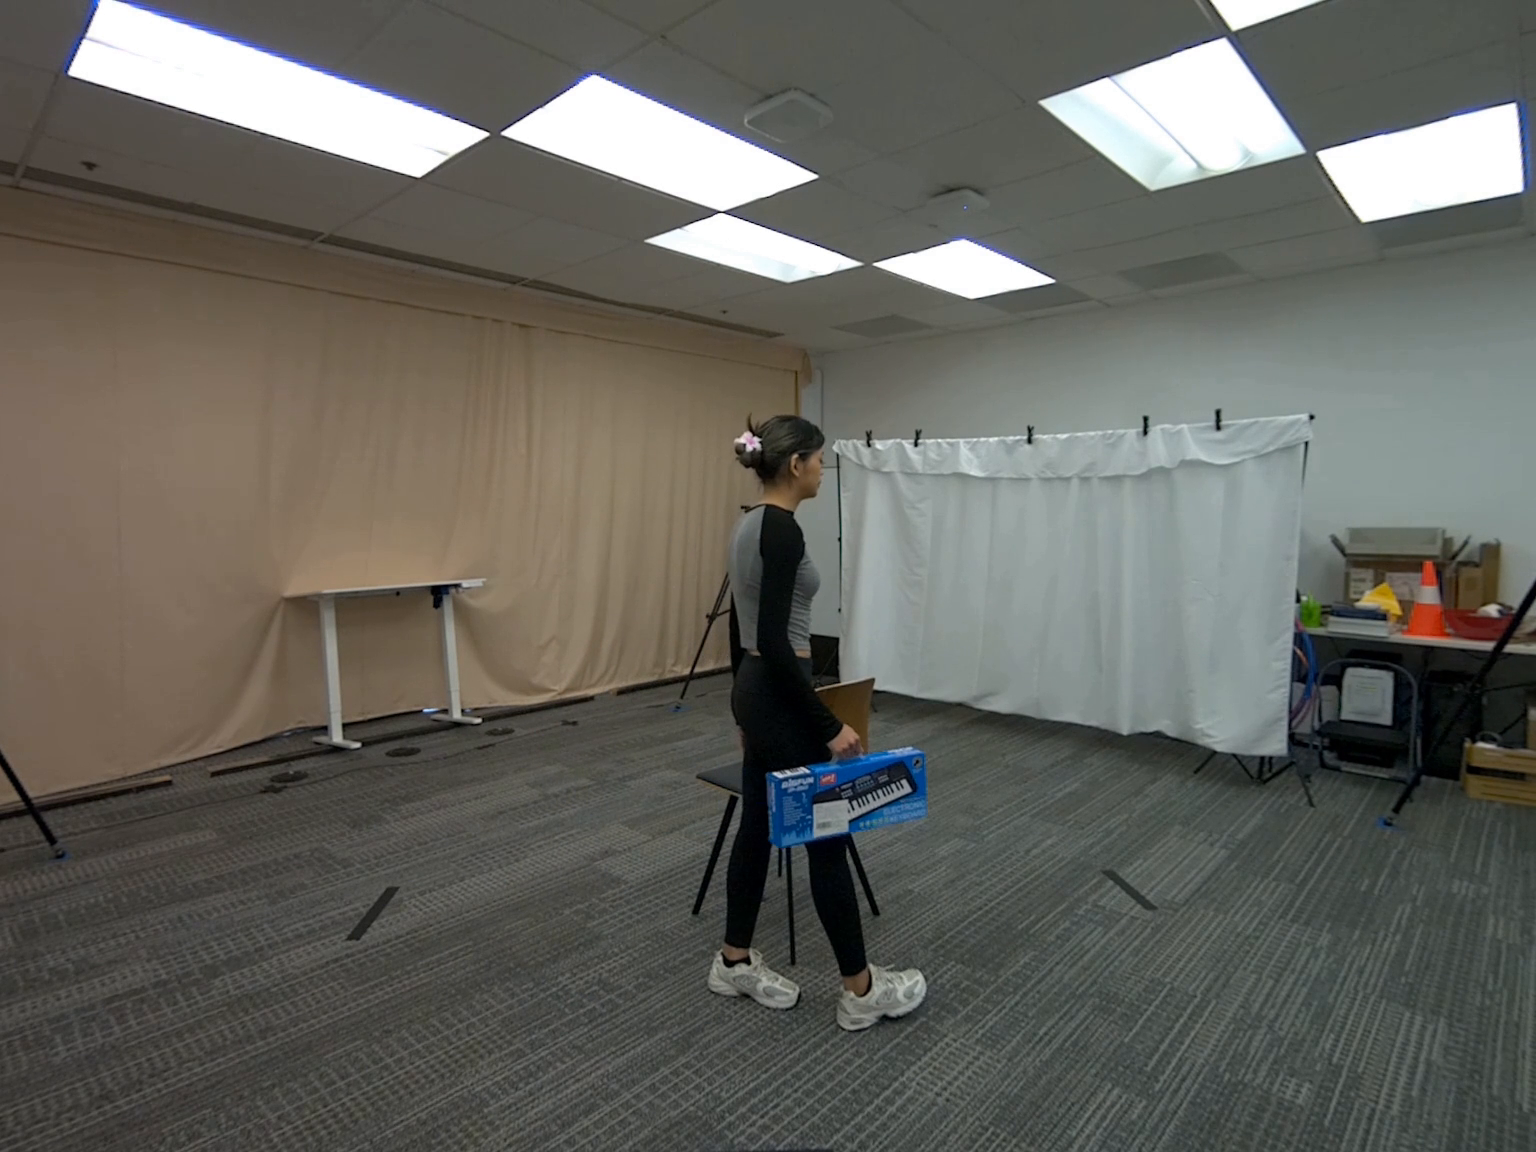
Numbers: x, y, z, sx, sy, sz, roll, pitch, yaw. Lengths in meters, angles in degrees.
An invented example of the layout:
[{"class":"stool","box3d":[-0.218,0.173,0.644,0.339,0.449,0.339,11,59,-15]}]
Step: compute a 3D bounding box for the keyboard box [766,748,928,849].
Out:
[{"class":"keyboard box","box3d":[0.208,0.557,2.147,0.427,0.175,0.060,-4,4,-24]}]
